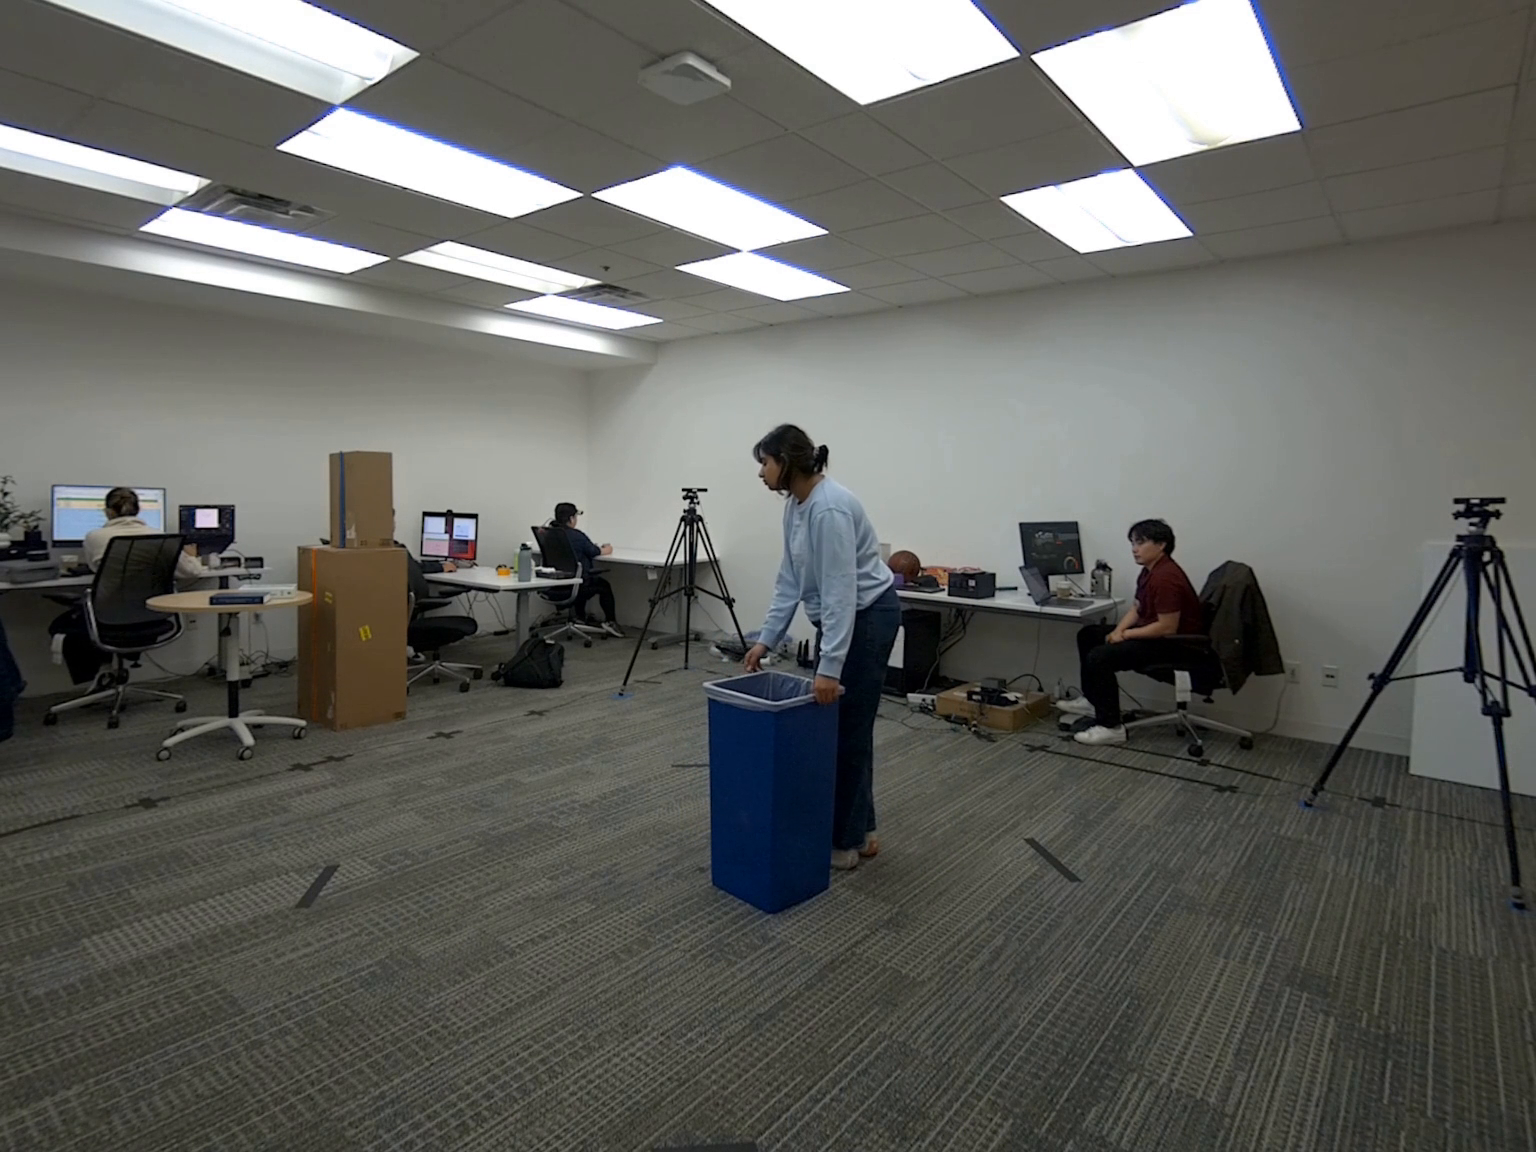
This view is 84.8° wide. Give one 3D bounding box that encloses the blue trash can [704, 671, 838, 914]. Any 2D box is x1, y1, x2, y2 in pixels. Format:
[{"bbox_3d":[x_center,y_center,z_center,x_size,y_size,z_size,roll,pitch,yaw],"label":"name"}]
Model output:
[{"bbox_3d":[0.004,0.729,2.963,0.362,0.712,0.391,-1,3,-44],"label":"blue trash can"}]
